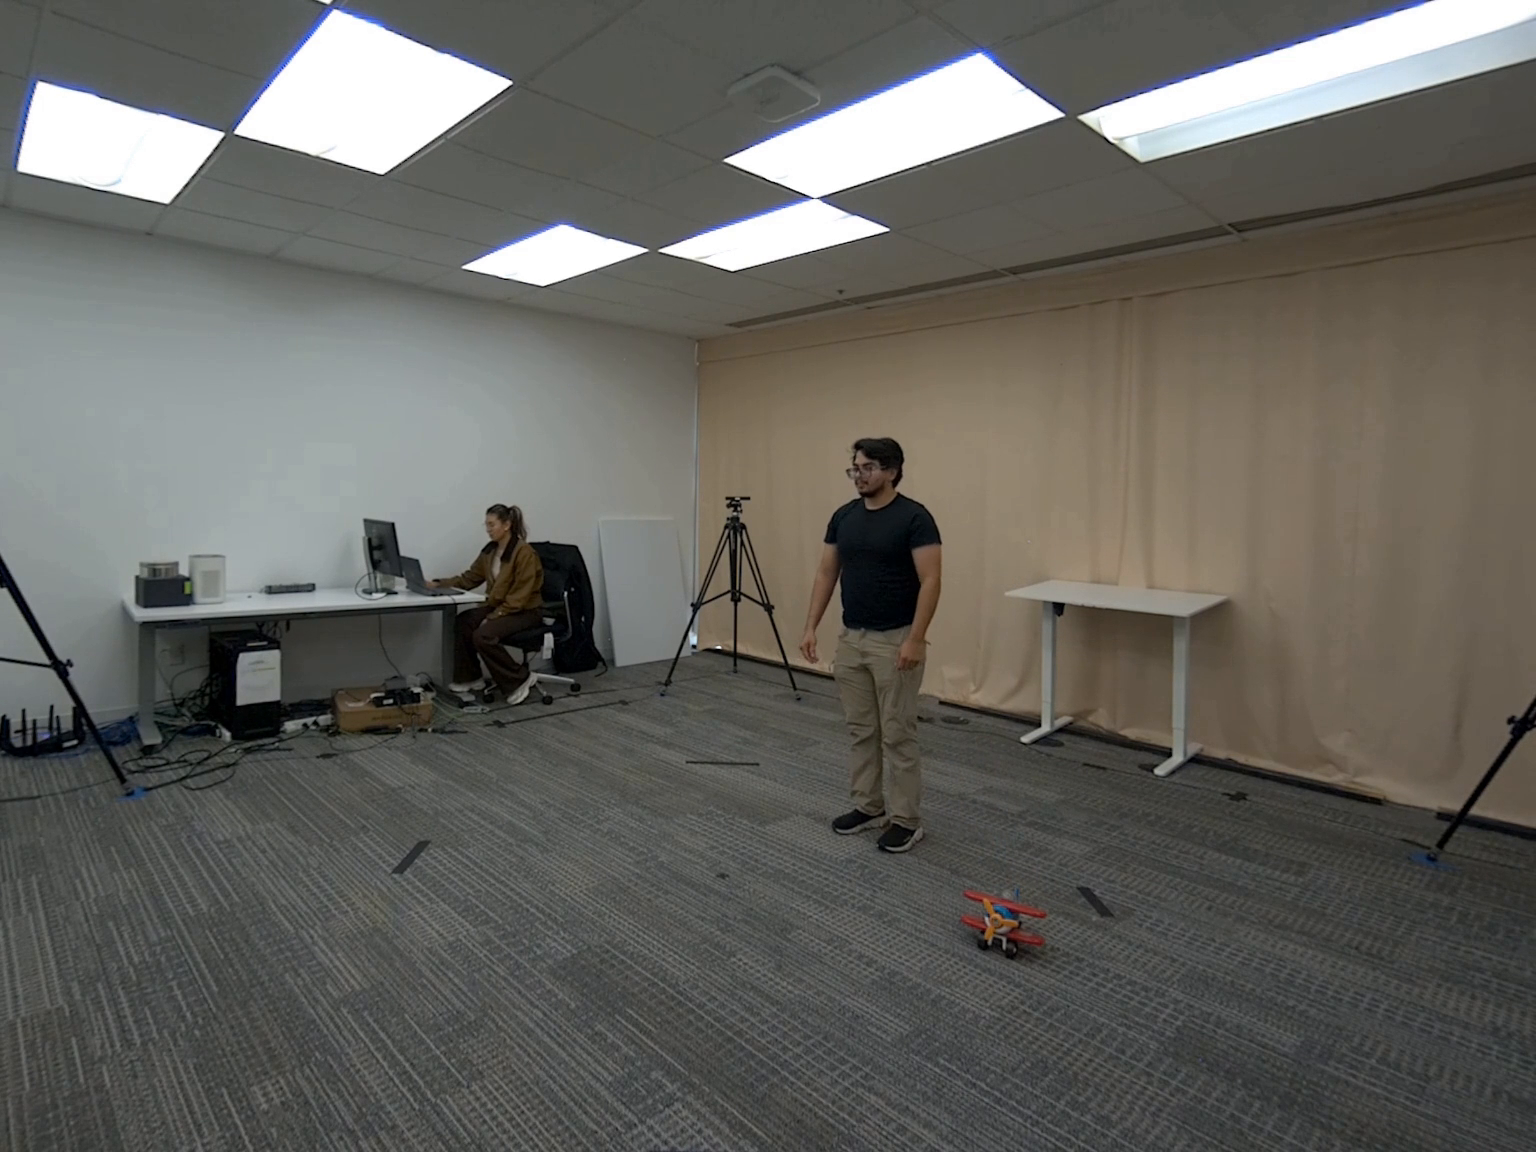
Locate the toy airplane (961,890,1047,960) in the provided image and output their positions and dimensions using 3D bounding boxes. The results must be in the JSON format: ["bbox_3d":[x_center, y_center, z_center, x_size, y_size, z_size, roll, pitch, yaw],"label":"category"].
[{"bbox_3d":[0.734,1.095,2.692,0.252,0.156,0.259,2,6,5],"label":"toy airplane"}]
